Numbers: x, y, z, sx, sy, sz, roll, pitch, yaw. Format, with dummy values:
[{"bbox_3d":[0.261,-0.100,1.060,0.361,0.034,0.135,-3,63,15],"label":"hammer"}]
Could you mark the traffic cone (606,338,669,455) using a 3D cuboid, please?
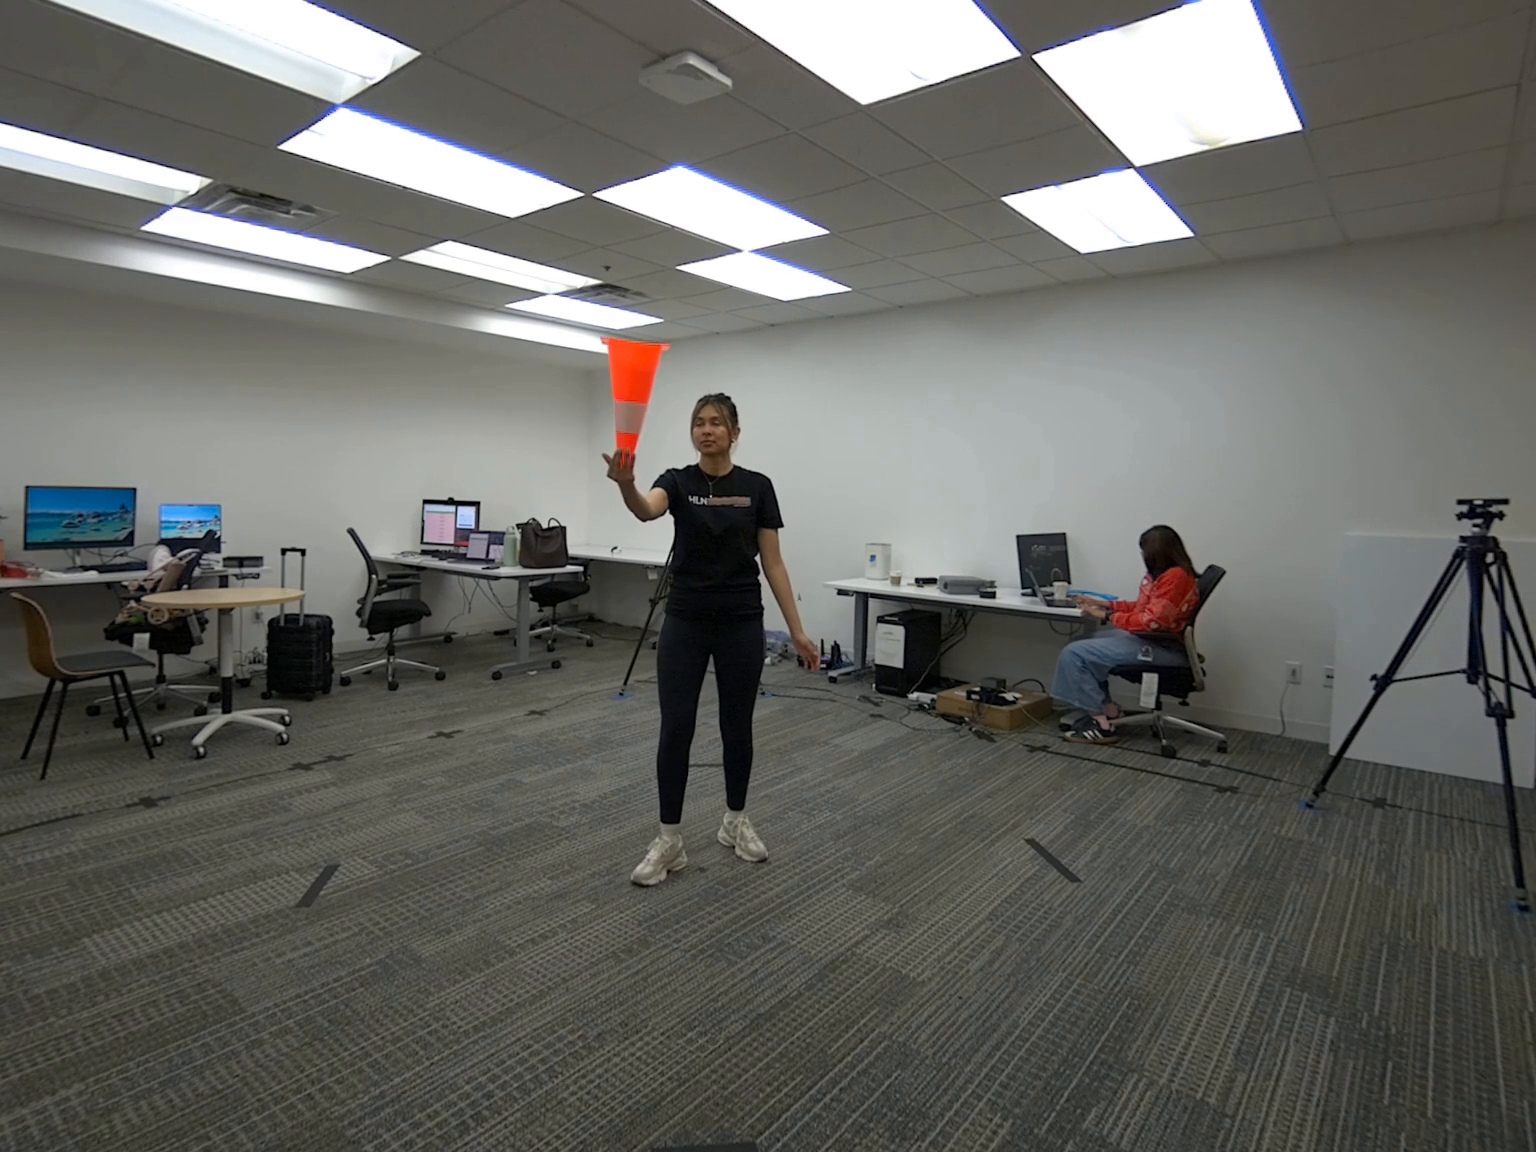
[{"bbox_3d":[-0.419,-0.490,2.491,0.203,0.381,0.207,5,8,-9],"label":"traffic cone"}]
